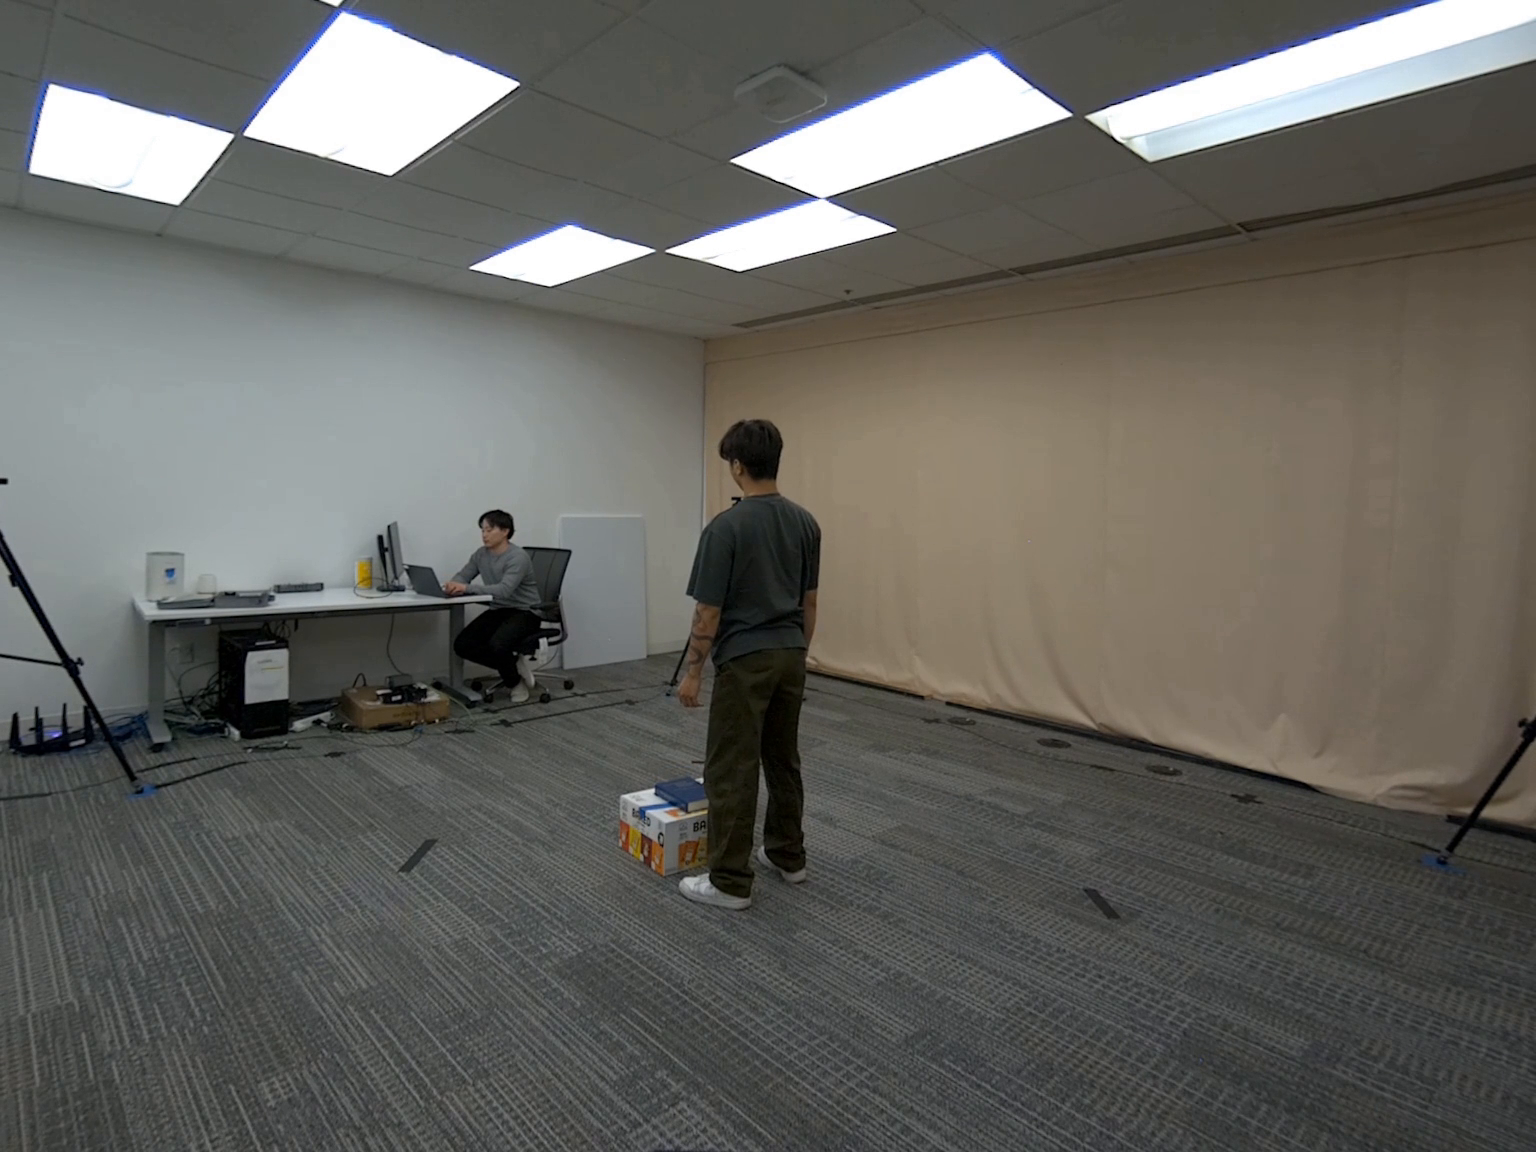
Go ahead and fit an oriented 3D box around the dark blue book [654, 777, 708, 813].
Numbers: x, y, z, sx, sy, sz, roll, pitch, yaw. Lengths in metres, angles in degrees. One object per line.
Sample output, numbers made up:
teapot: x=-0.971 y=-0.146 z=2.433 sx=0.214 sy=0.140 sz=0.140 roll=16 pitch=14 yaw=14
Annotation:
dark blue book: x=-0.323 y=0.868 z=3.335 sx=0.160 sy=0.045 sz=0.251 roll=-3 pitch=7 yaw=-37
